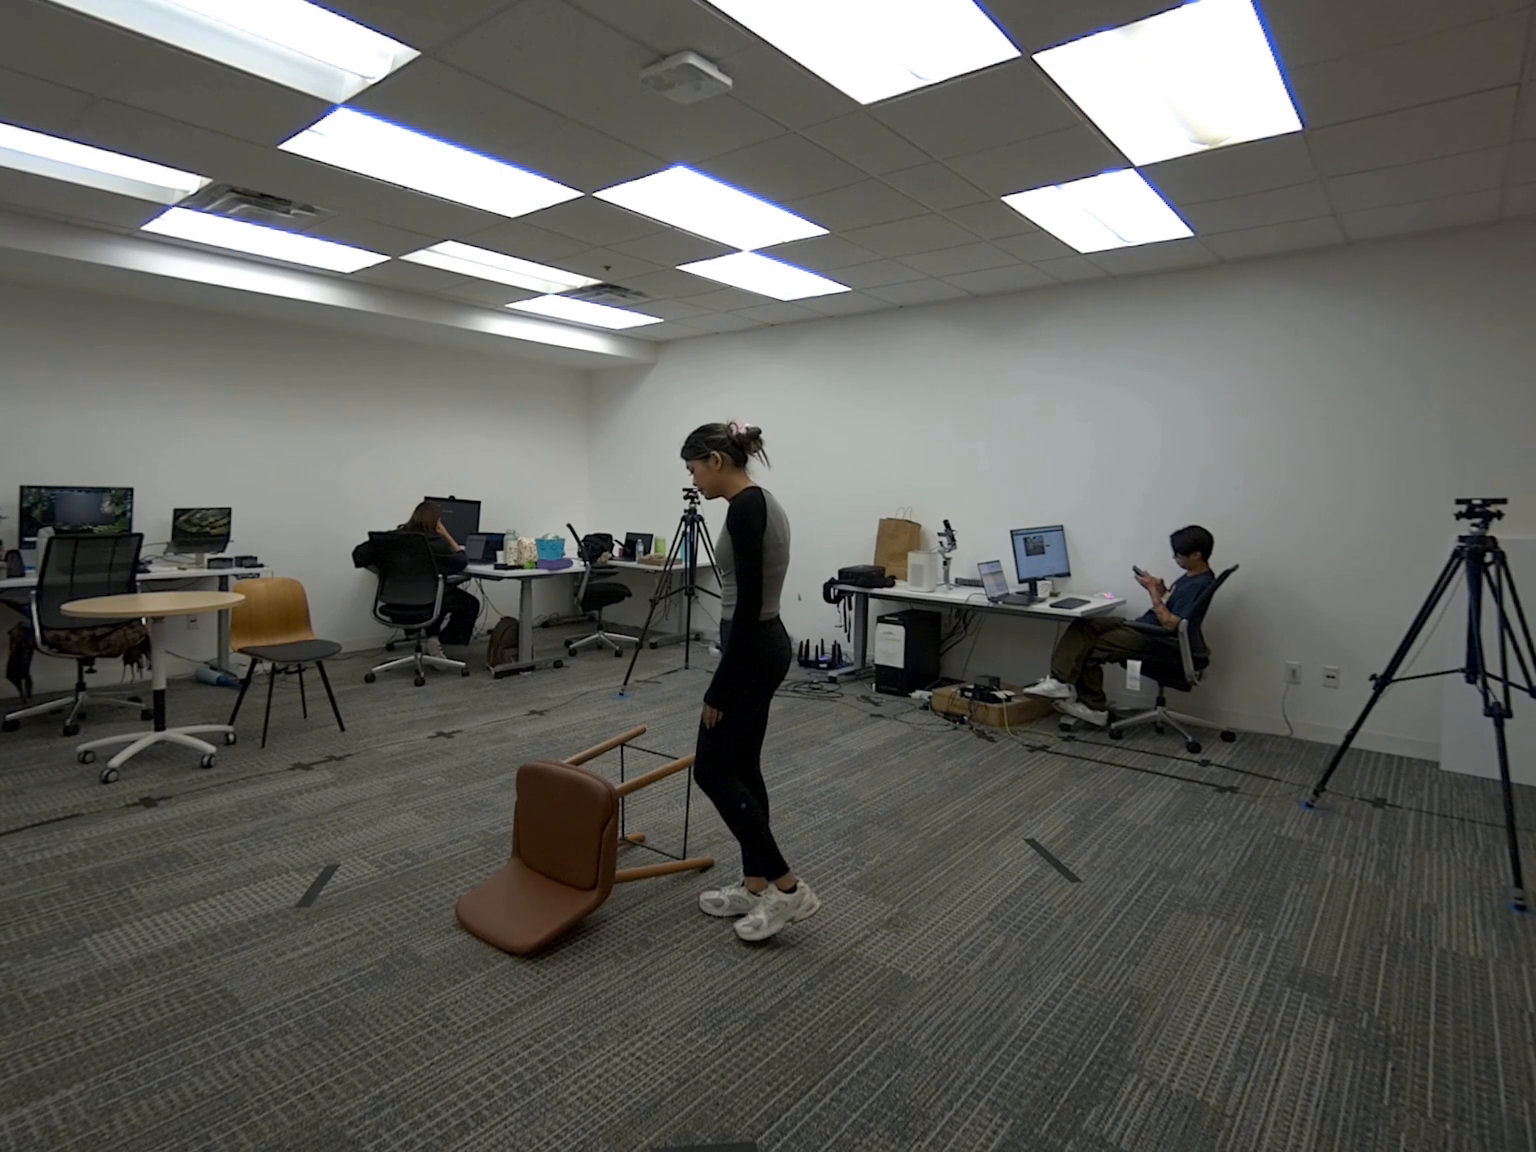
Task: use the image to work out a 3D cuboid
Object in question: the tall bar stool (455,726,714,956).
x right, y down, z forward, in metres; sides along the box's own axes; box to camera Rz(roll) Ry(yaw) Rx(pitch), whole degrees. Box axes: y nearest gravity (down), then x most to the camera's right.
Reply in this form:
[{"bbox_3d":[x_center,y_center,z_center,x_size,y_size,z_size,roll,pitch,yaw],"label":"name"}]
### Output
[{"bbox_3d":[-0.602,0.852,2.911,0.471,0.466,0.864,4,6,36],"label":"tall bar stool"}]
